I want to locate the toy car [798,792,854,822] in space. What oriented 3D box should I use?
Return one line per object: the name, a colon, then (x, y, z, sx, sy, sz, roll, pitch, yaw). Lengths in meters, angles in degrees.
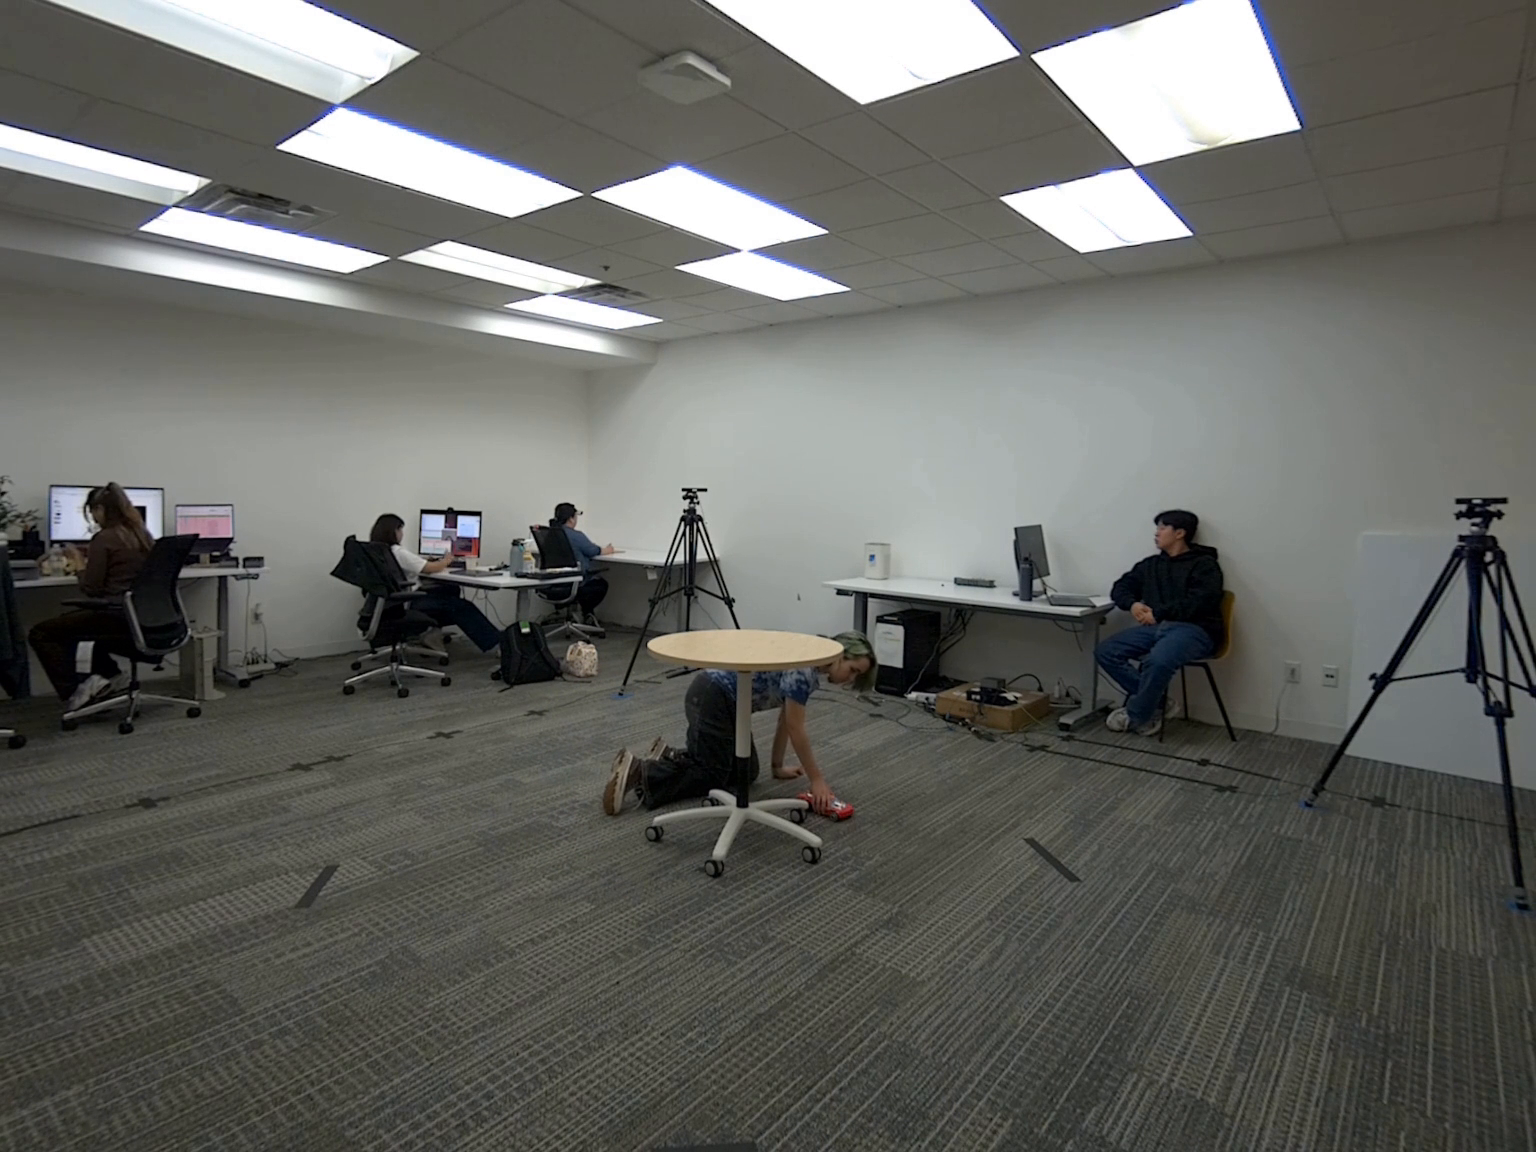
toy car: (0.245, 0.994, 3.702, 0.126, 0.082, 0.264, -3, 15, -45)
